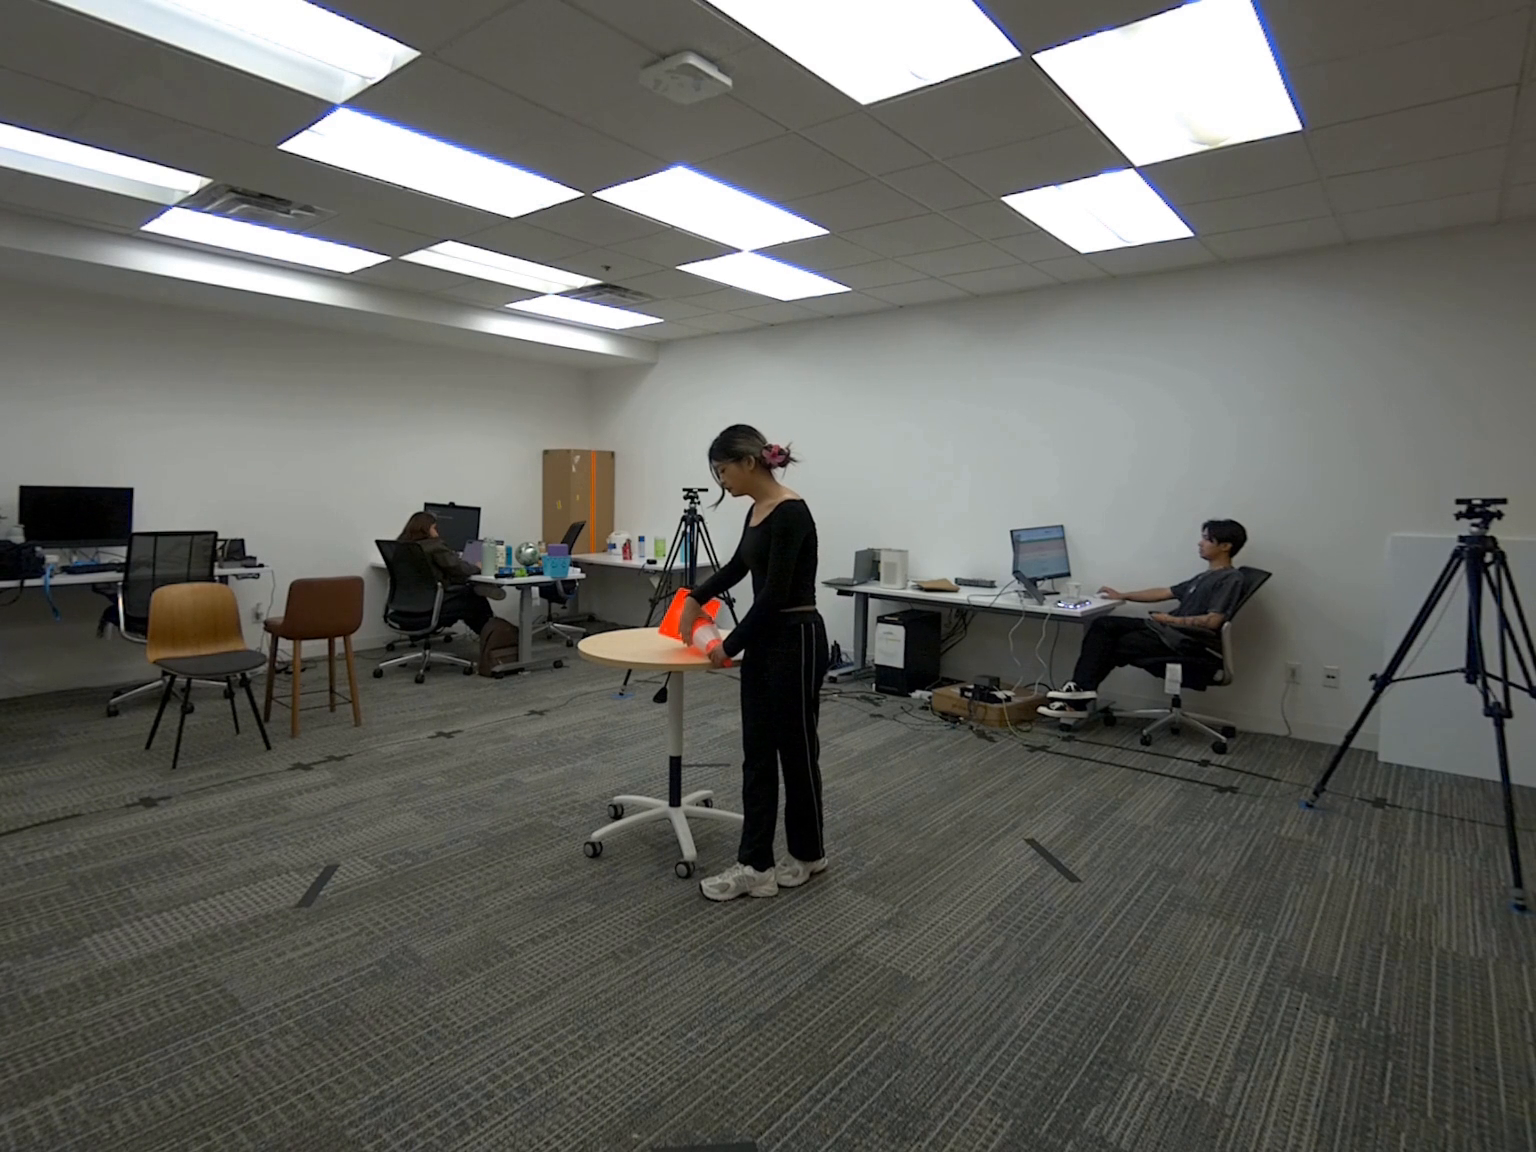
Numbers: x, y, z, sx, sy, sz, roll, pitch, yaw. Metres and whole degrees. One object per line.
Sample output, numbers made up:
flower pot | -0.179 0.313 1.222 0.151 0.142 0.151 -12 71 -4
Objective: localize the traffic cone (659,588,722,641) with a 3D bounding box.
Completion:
traffic cone | -0.230 0.223 3.074 0.198 0.202 0.398 22 10 -29
